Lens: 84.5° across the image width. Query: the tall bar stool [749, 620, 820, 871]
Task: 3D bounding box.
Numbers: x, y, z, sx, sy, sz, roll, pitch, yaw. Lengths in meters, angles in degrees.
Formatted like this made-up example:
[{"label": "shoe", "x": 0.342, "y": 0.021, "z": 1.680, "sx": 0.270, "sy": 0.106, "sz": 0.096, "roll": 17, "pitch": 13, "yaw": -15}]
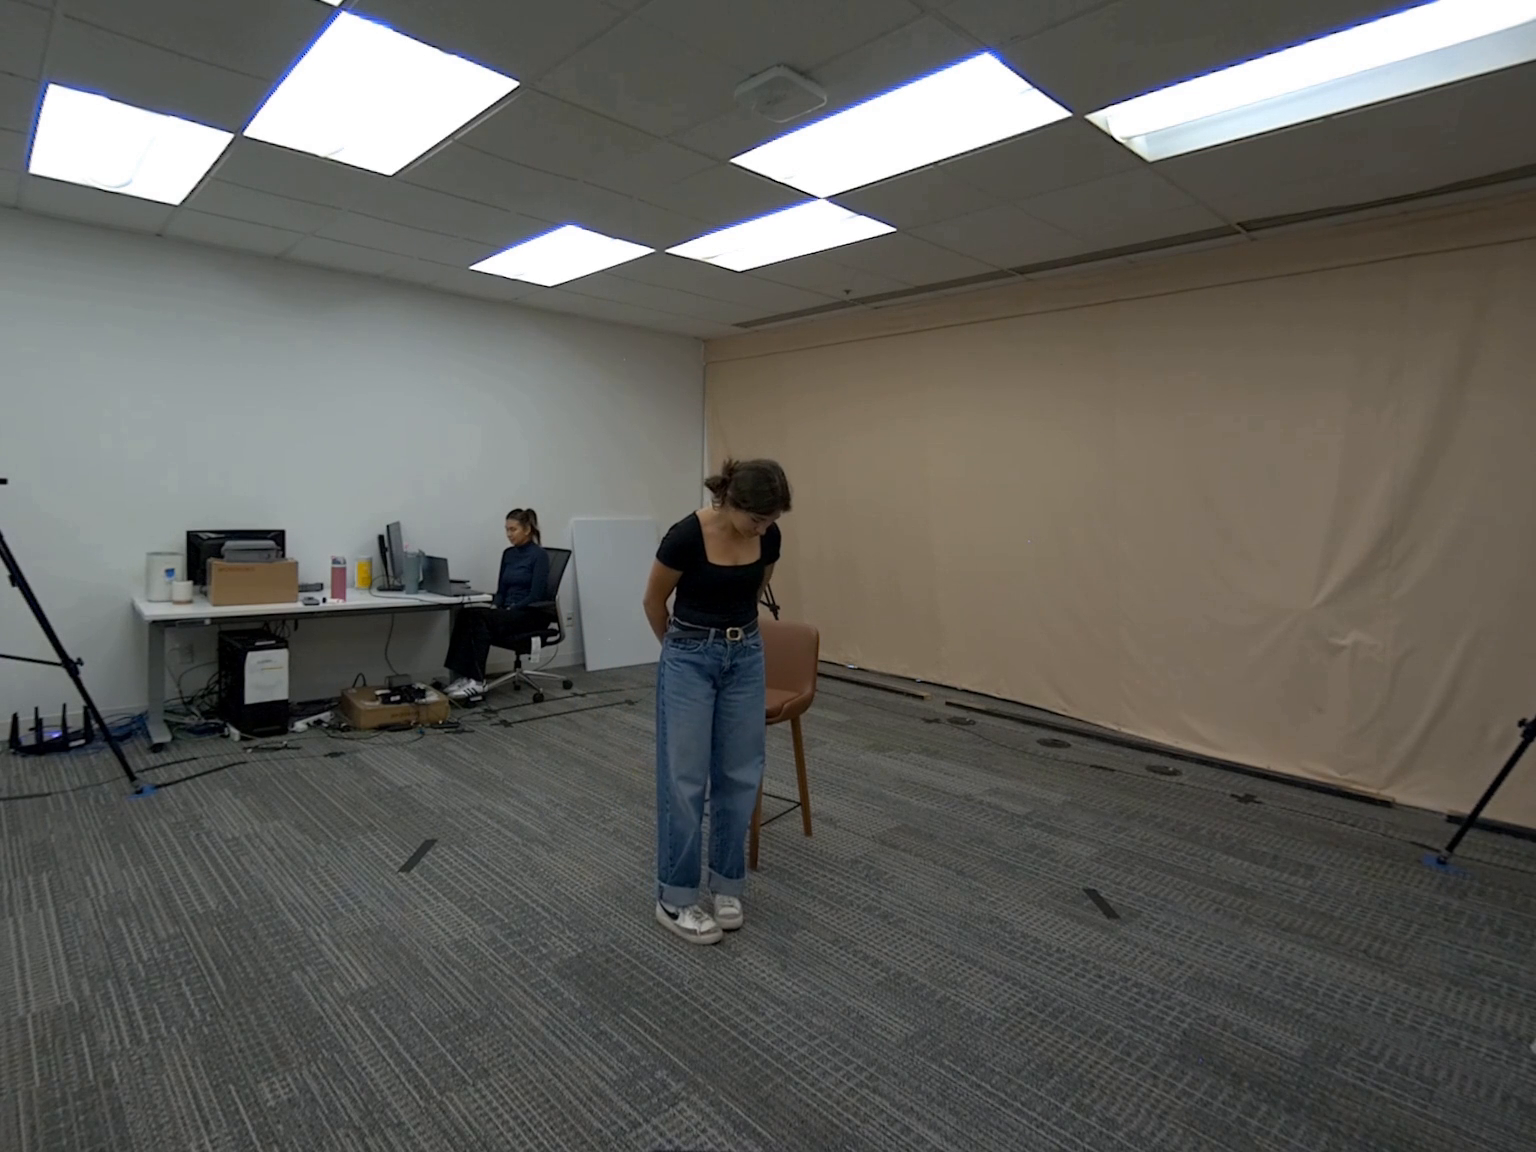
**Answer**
[{"label": "tall bar stool", "x": -0.082, "y": 0.647, "z": 3.422, "sx": 0.467, "sy": 0.889, "sz": 0.457, "roll": 3, "pitch": 2, "yaw": 36}]
